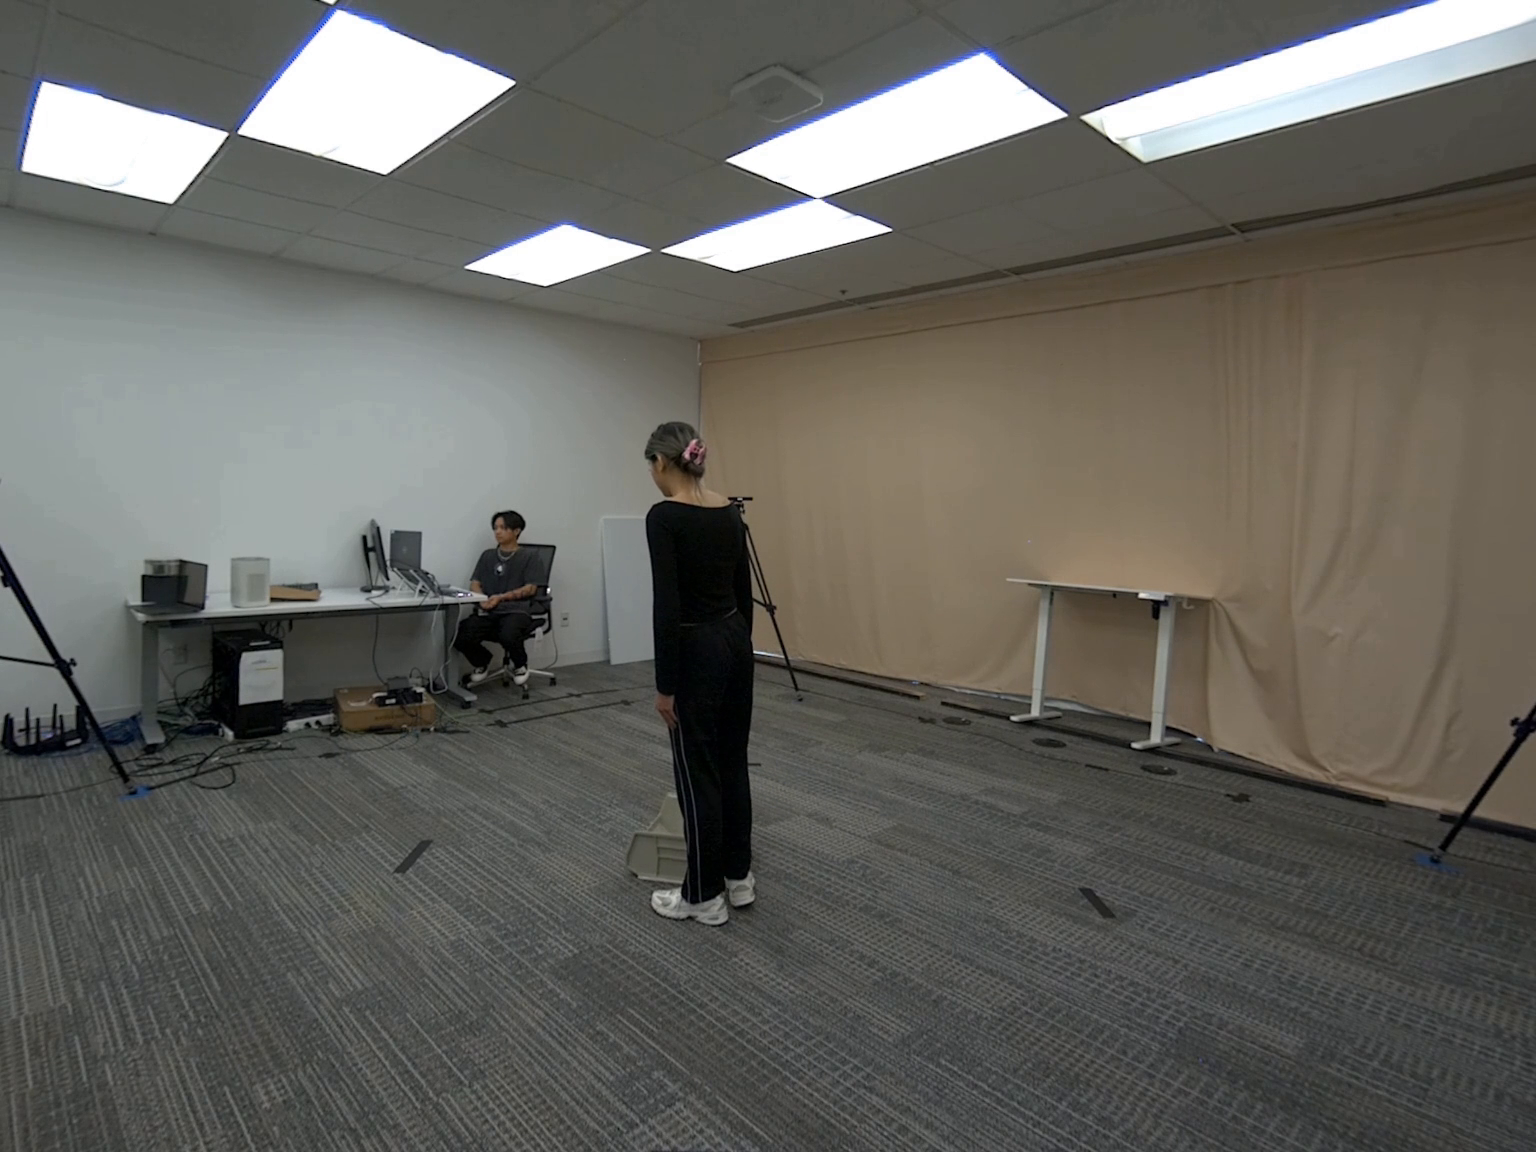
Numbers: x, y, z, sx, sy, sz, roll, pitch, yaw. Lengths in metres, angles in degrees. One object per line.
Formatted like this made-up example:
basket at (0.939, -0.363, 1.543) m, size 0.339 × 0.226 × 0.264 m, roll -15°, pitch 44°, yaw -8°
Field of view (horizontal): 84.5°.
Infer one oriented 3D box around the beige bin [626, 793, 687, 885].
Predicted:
beige bin at (-0.315, 1.006, 3.231) m, size 0.381 × 0.188 × 0.419 m, roll 3°, pitch 5°, yaw 11°
